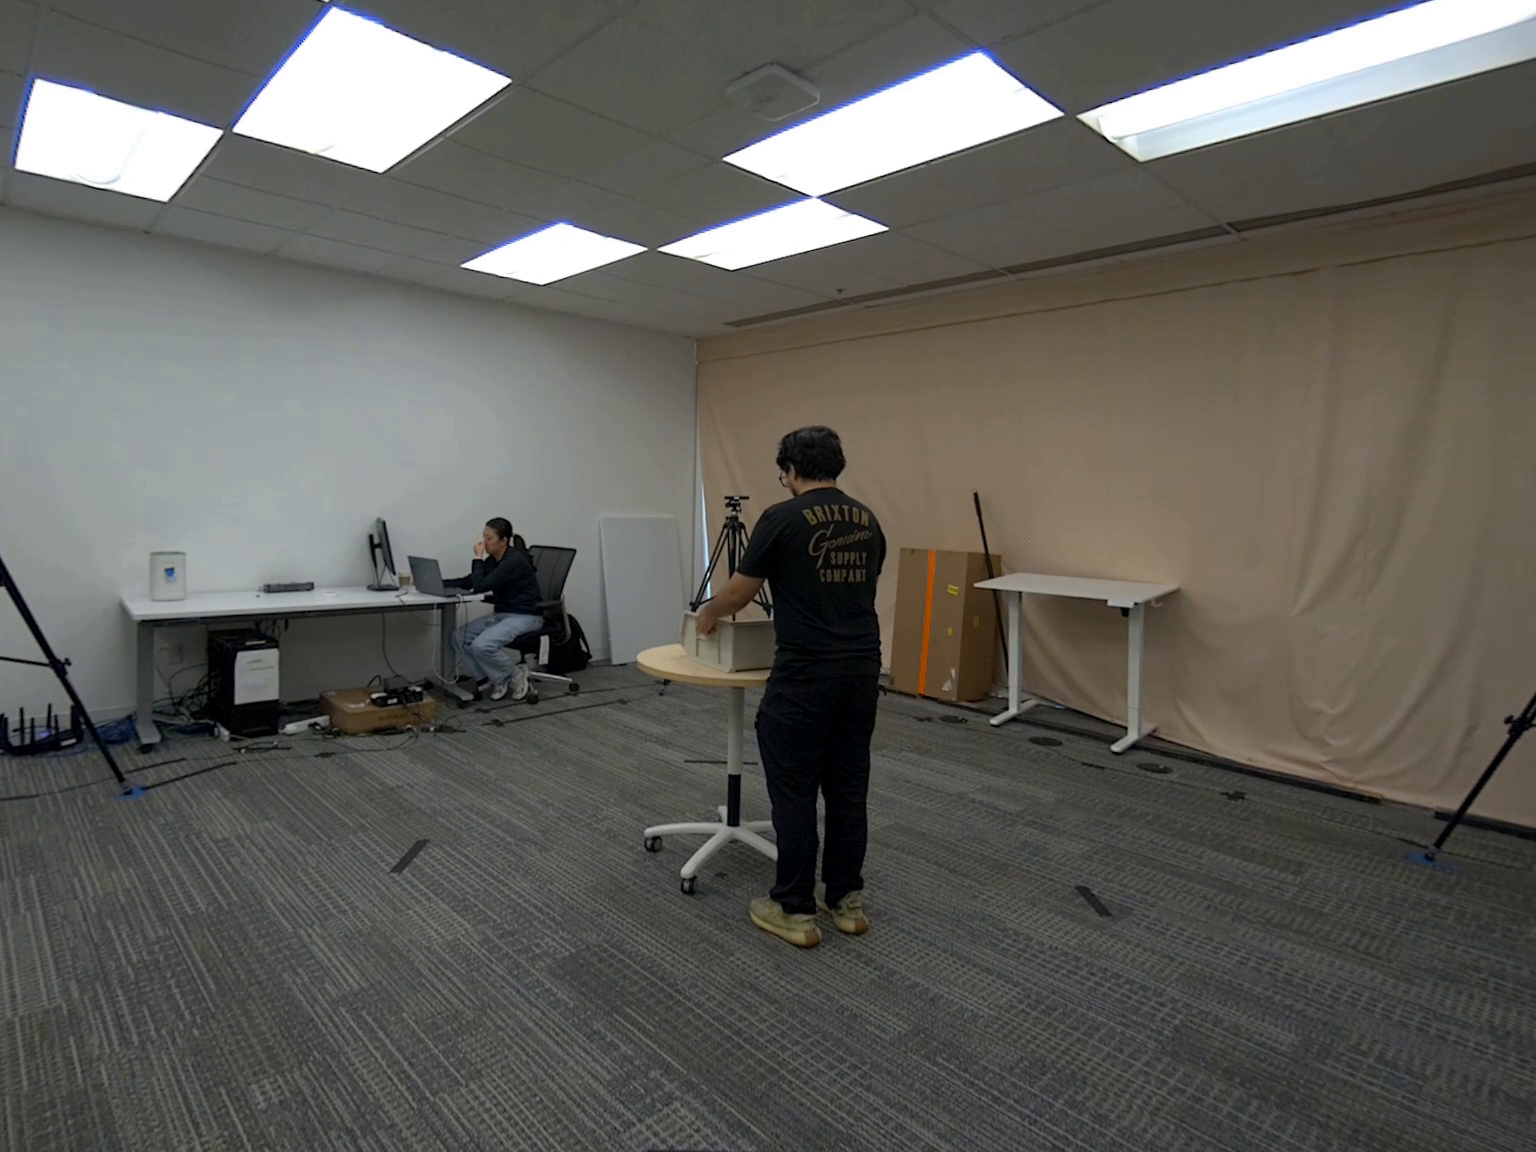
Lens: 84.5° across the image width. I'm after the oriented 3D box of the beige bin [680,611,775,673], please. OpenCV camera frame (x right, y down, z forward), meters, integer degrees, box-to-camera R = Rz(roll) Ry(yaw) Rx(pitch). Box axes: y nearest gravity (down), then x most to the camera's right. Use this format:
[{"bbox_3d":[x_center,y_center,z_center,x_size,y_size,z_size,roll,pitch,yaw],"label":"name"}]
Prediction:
[{"bbox_3d":[-0.065,0.228,3.152,0.413,0.188,0.386,0,6,-32],"label":"beige bin"}]
